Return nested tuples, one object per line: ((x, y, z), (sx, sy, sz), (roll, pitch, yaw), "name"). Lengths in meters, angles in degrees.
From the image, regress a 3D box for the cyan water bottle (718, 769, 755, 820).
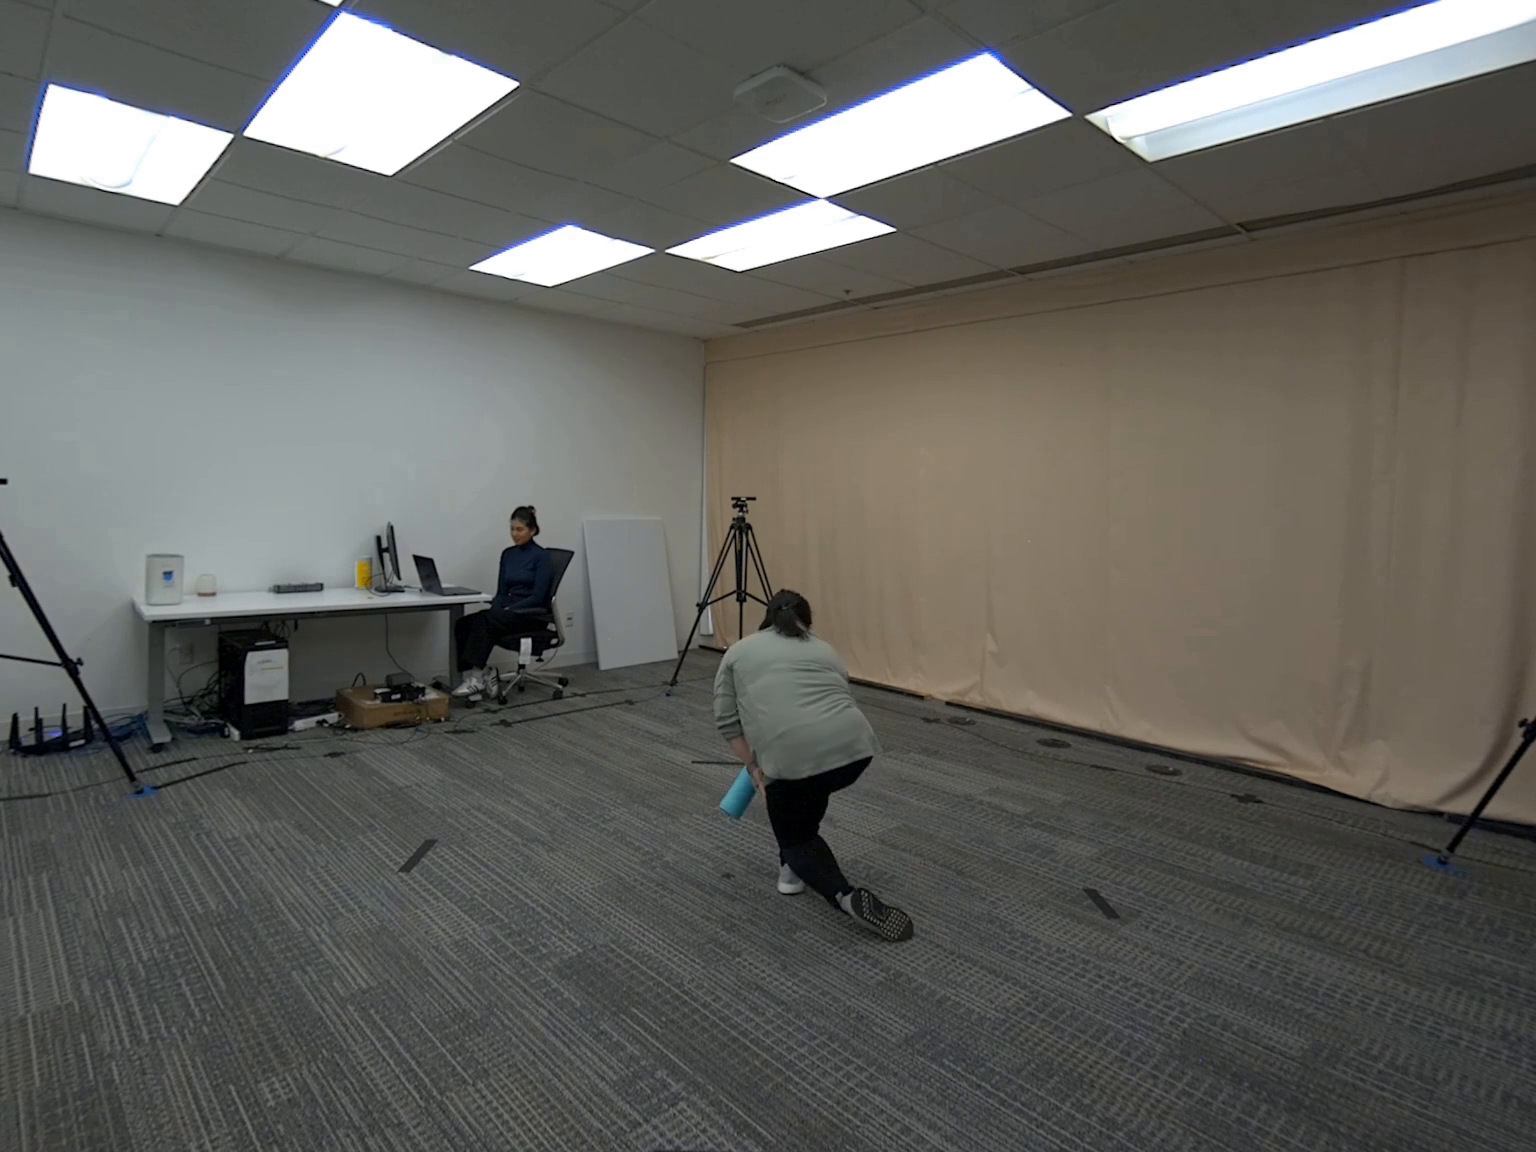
((-0.051, 0.757, 3.145), (0.093, 0.284, 0.091), (34, -16, 9), "cyan water bottle")
